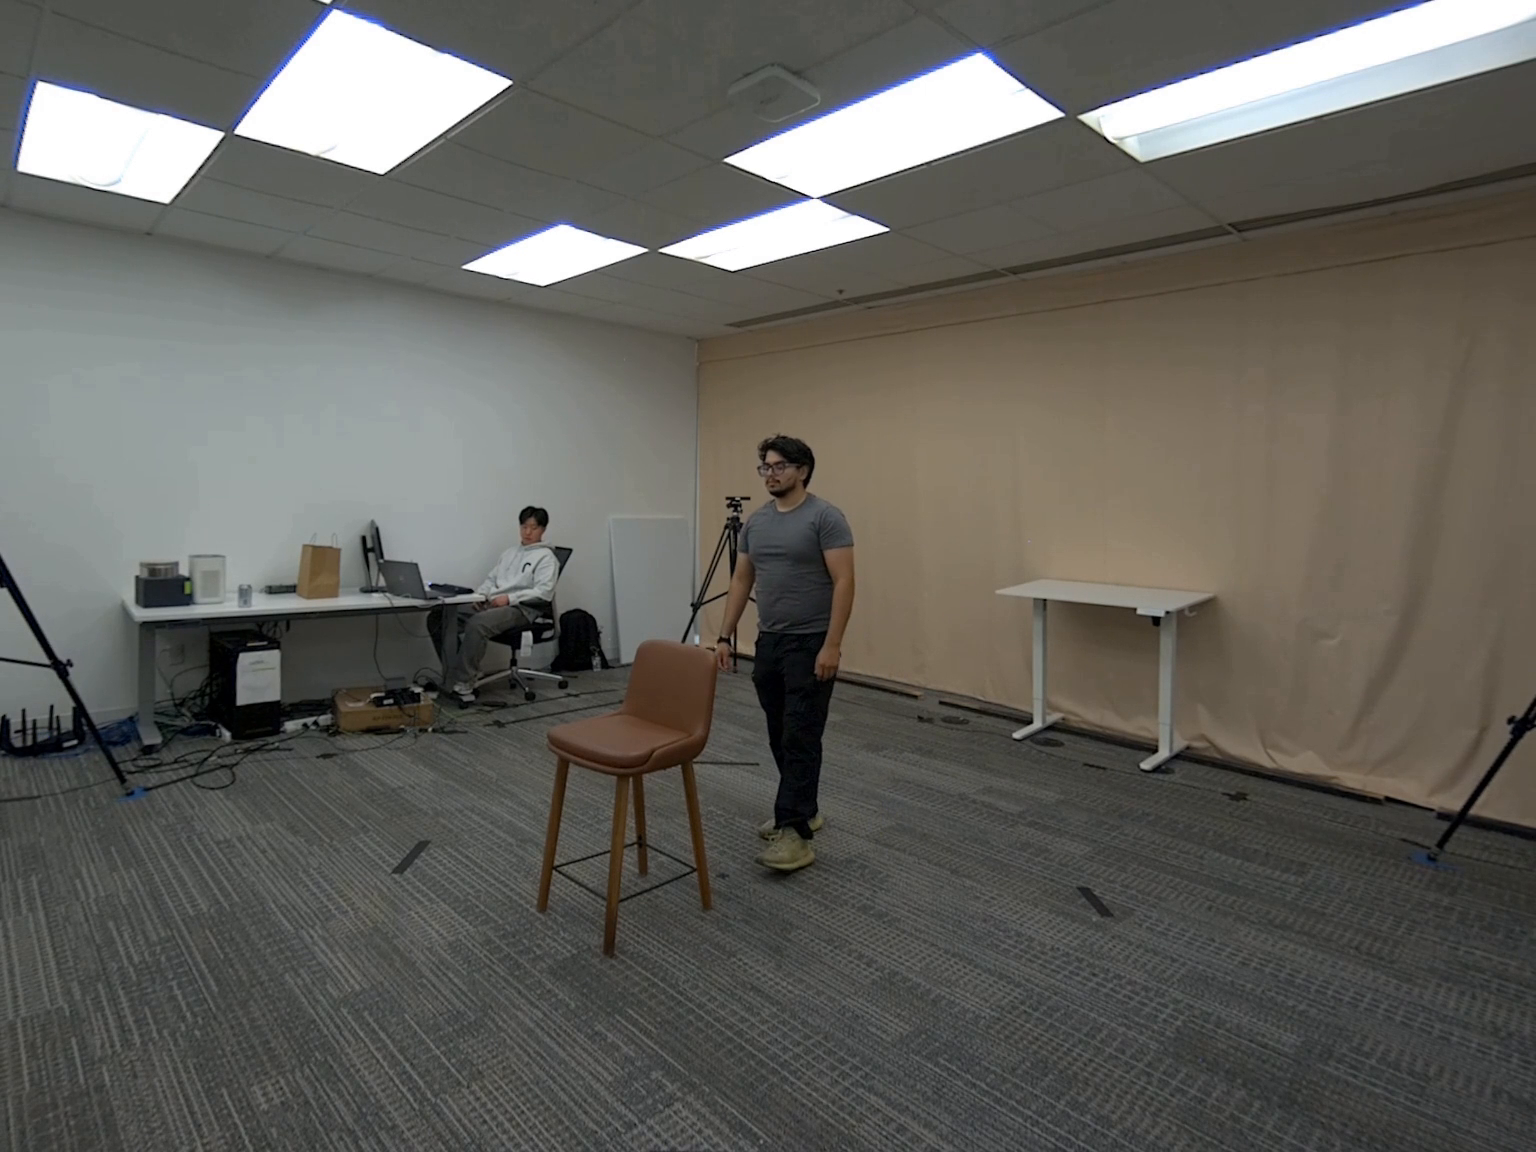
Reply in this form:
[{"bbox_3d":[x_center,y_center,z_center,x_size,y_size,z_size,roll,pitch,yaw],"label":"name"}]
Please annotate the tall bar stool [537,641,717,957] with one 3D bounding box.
[{"bbox_3d":[-0.466,0.690,2.814,0.468,0.889,0.456,4,2,45],"label":"tall bar stool"}]
